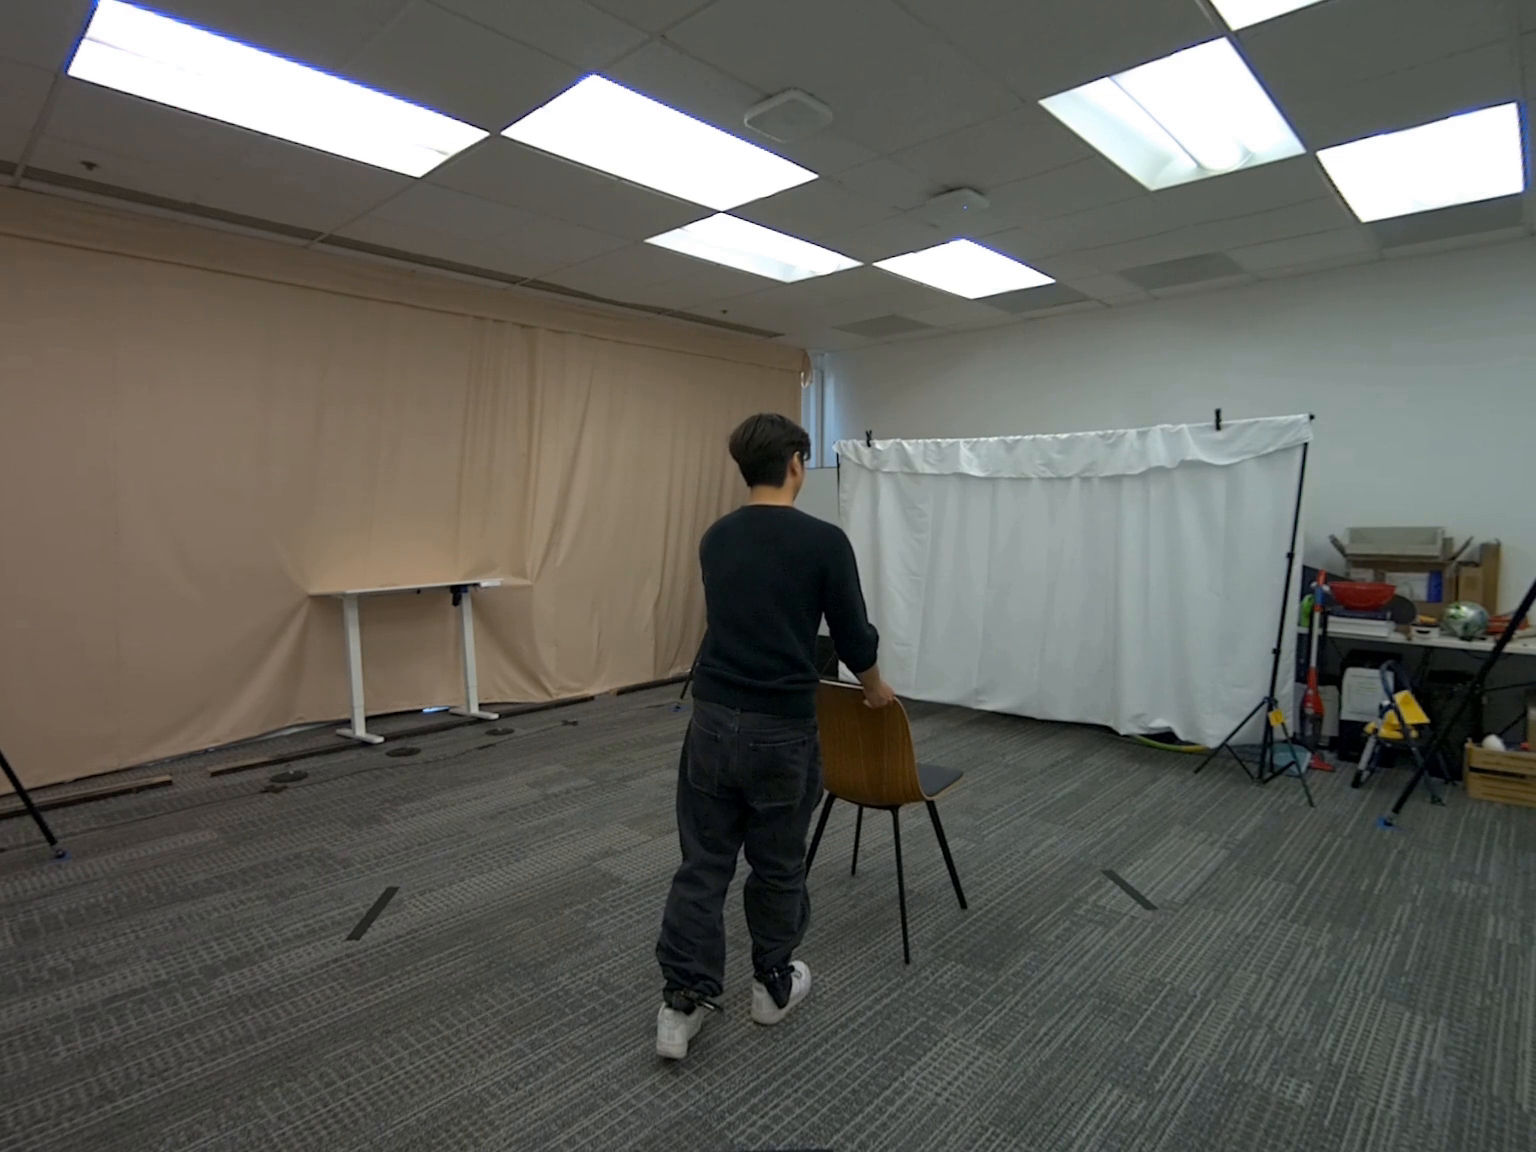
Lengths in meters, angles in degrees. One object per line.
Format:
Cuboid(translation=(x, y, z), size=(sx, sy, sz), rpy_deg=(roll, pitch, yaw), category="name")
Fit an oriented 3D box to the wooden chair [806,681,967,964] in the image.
Cuboid(translation=(0.378, 0.725, 2.840), size=(0.493, 0.873, 0.509), rpy_deg=(2, 9, 37), category="wooden chair")
